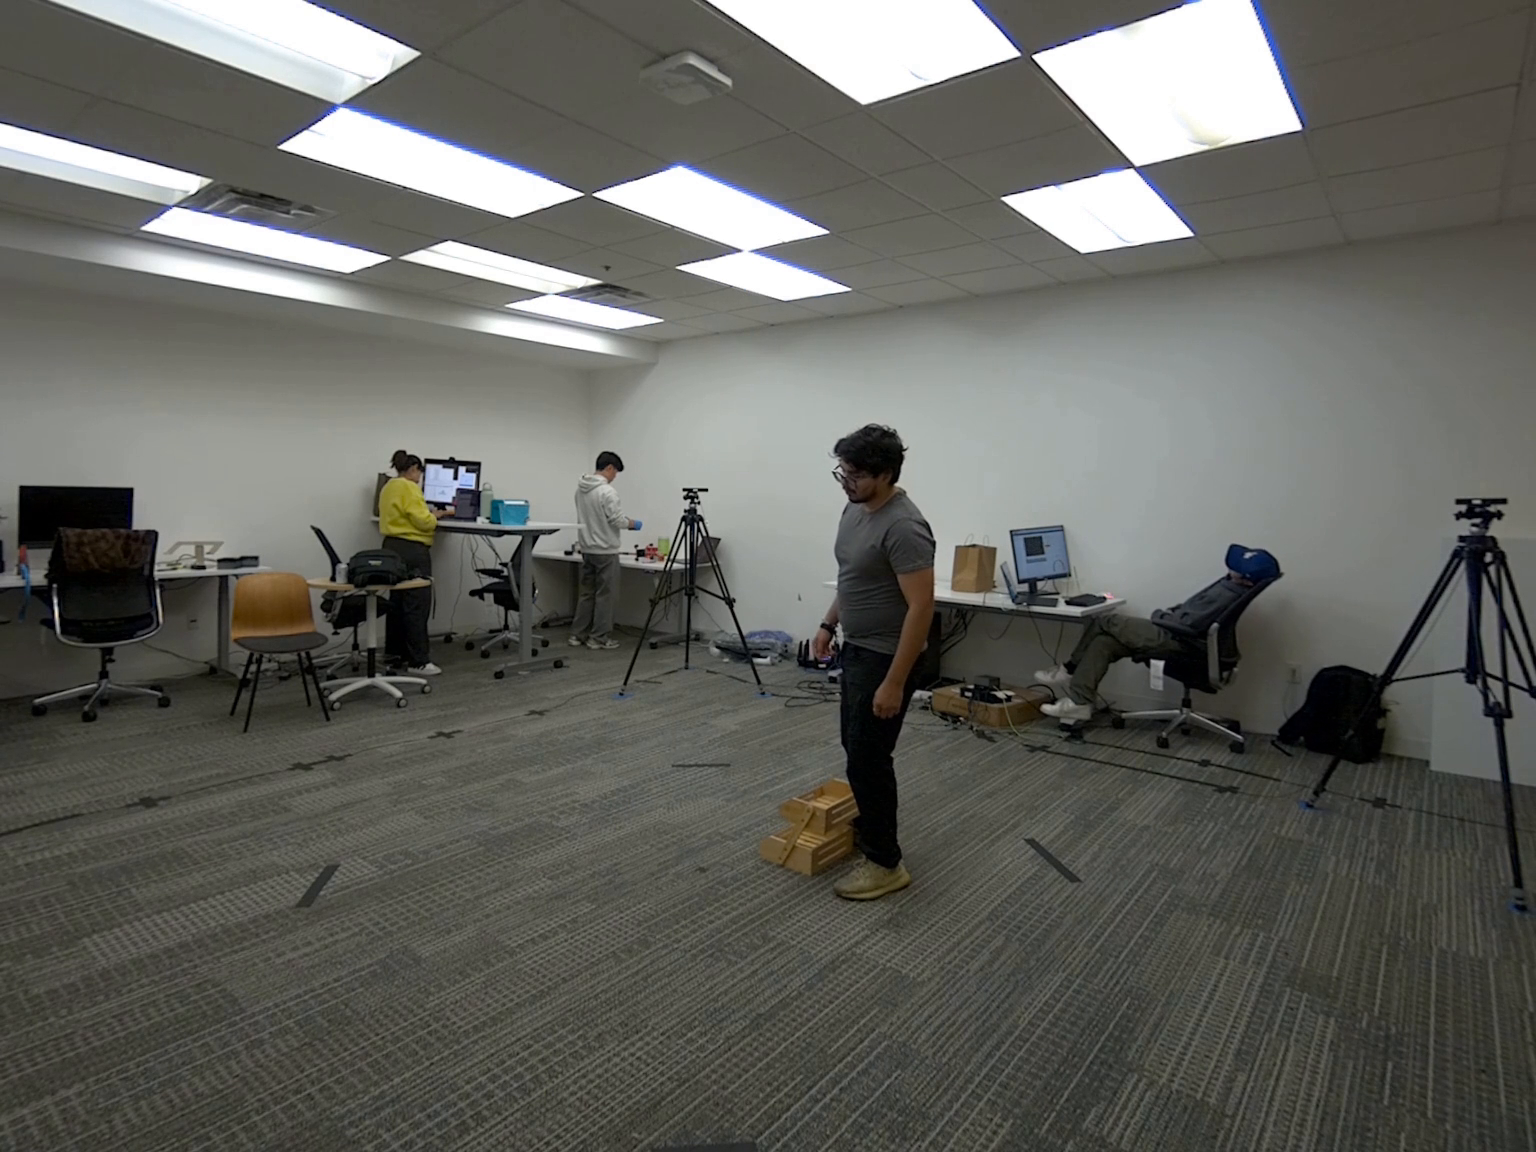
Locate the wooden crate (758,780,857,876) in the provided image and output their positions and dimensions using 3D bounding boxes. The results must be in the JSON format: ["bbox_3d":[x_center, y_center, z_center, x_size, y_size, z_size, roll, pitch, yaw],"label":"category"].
[{"bbox_3d":[0.154,0.931,3.248,0.312,0.272,0.315,5,6,36],"label":"wooden crate"}]
